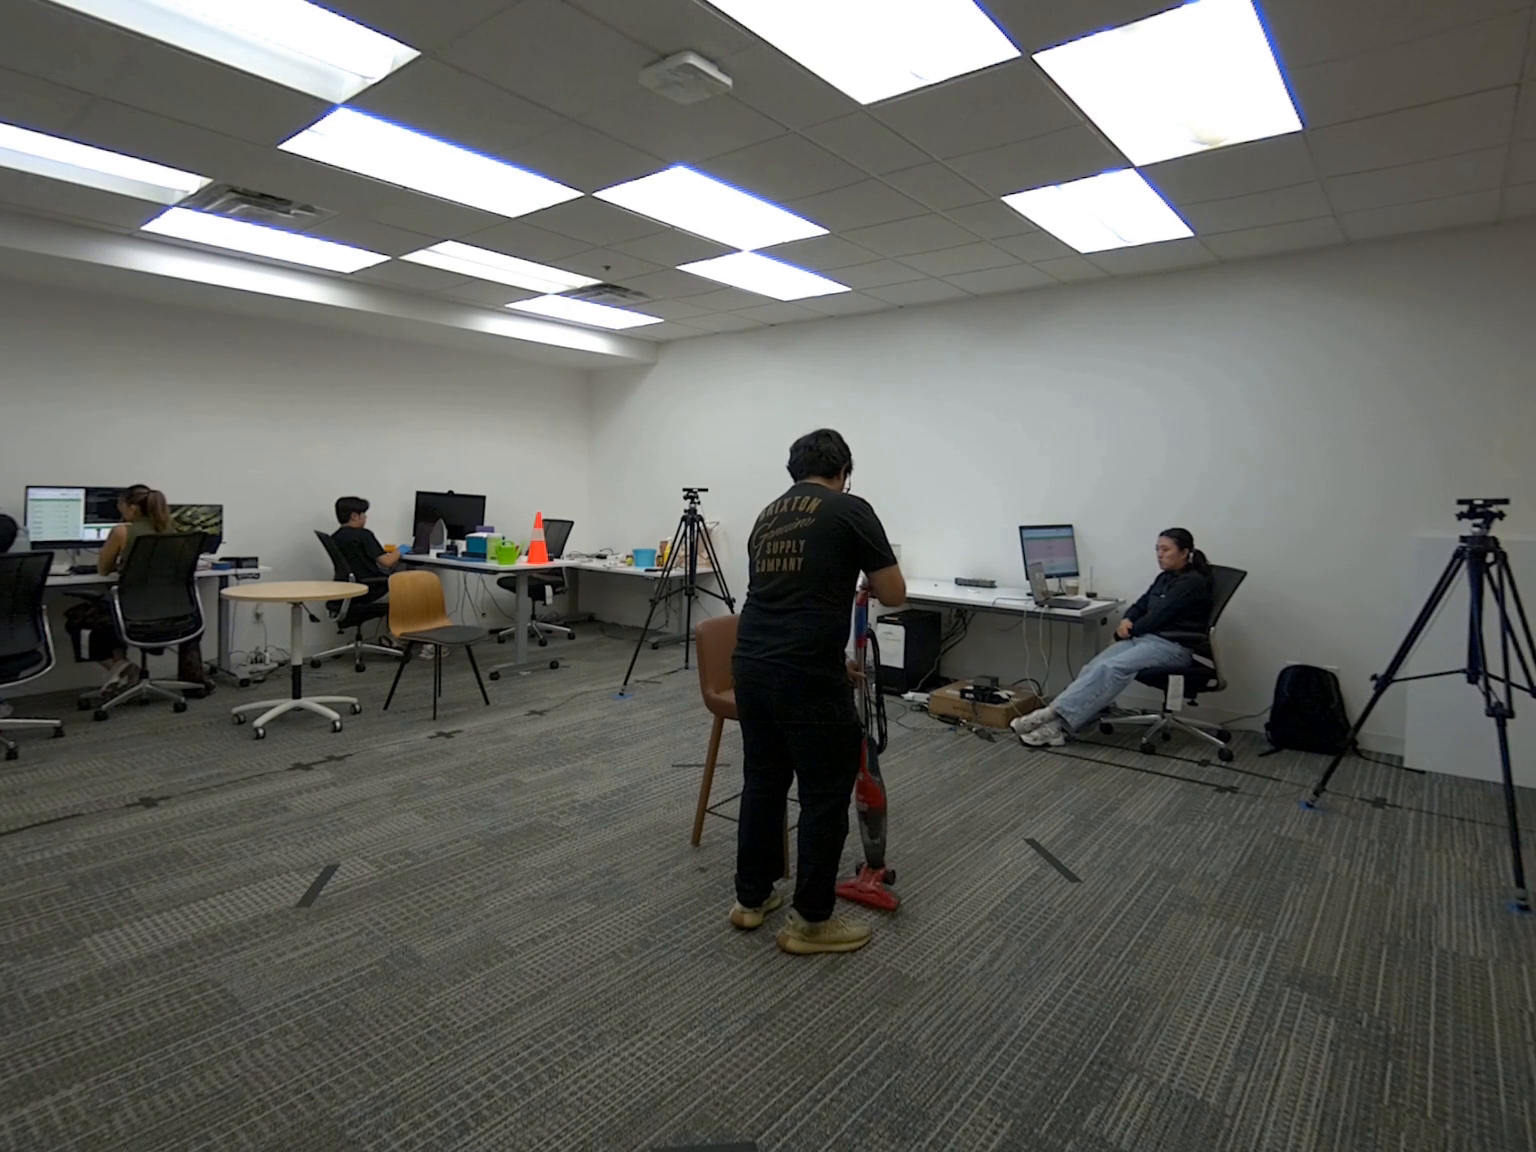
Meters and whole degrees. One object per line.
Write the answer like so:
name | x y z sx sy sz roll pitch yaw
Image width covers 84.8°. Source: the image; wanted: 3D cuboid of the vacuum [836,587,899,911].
vacuum | 0.341 0.542 2.917 0.141 1.052 0.258 1 -3 -24
